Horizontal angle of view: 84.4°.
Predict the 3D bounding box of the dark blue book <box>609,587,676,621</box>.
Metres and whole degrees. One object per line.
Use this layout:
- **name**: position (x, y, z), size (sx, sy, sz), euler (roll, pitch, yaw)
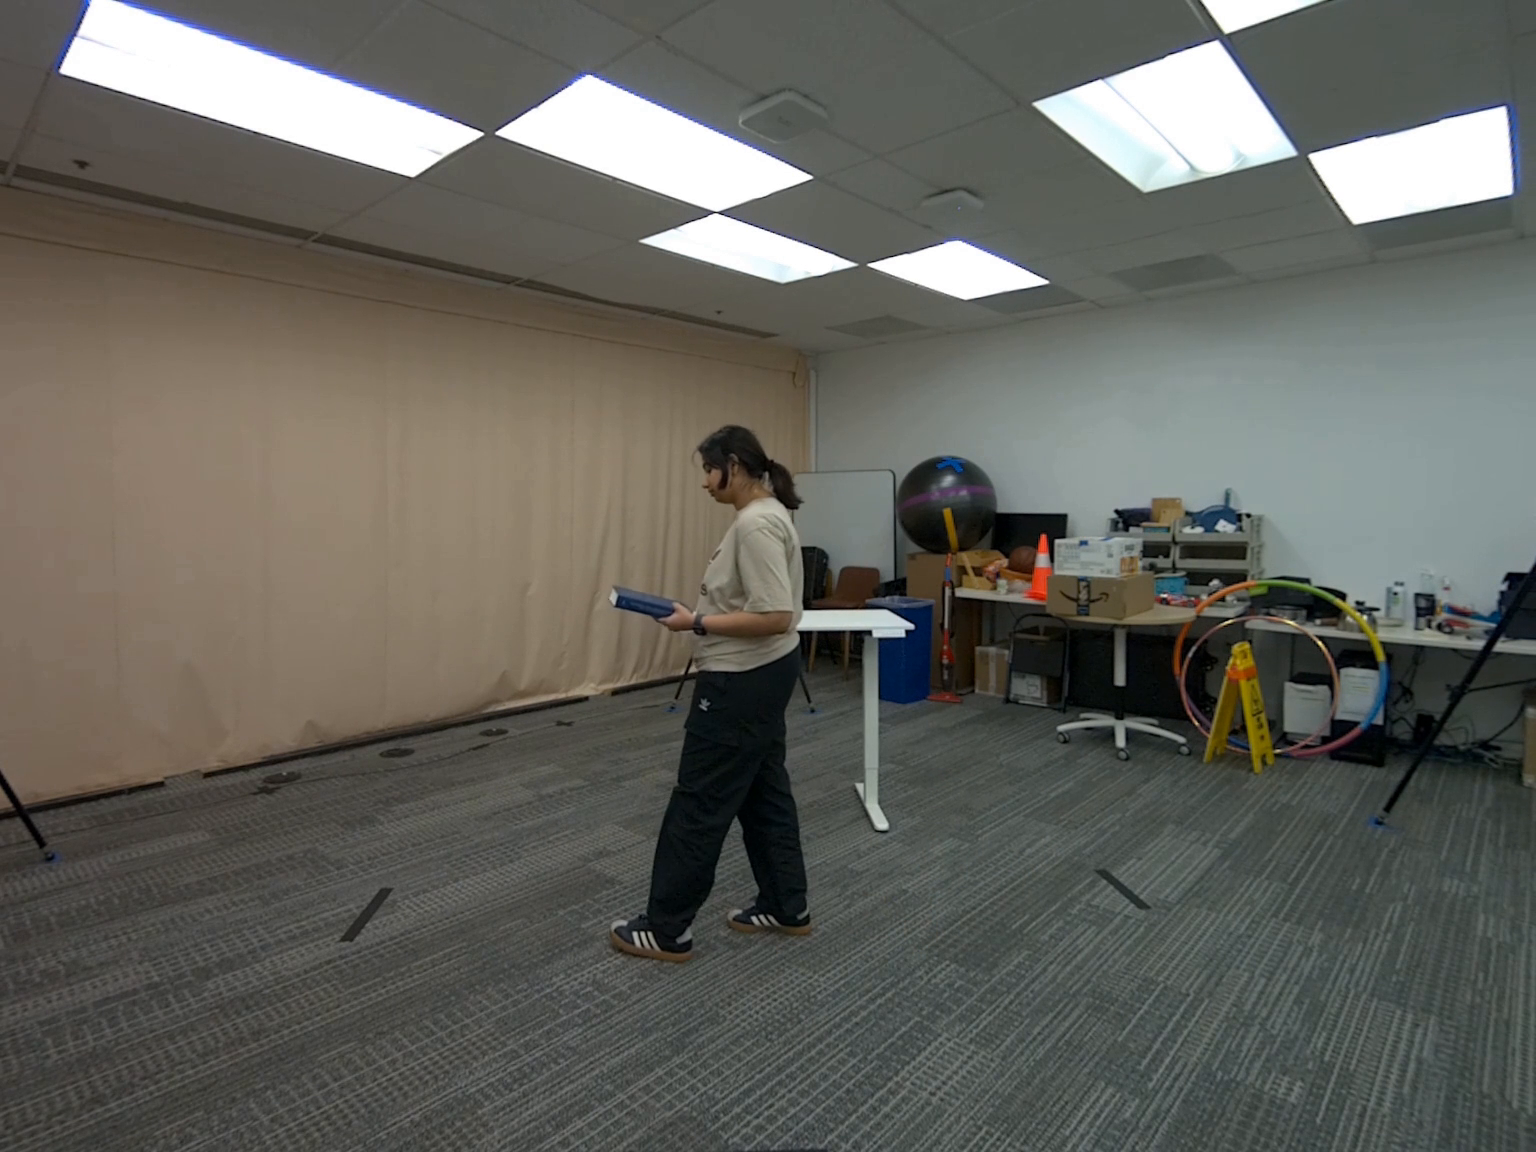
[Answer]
- **dark blue book**: position (-0.374, 0.091, 2.642), size (0.241, 0.045, 0.166), euler (13, 4, -16)
